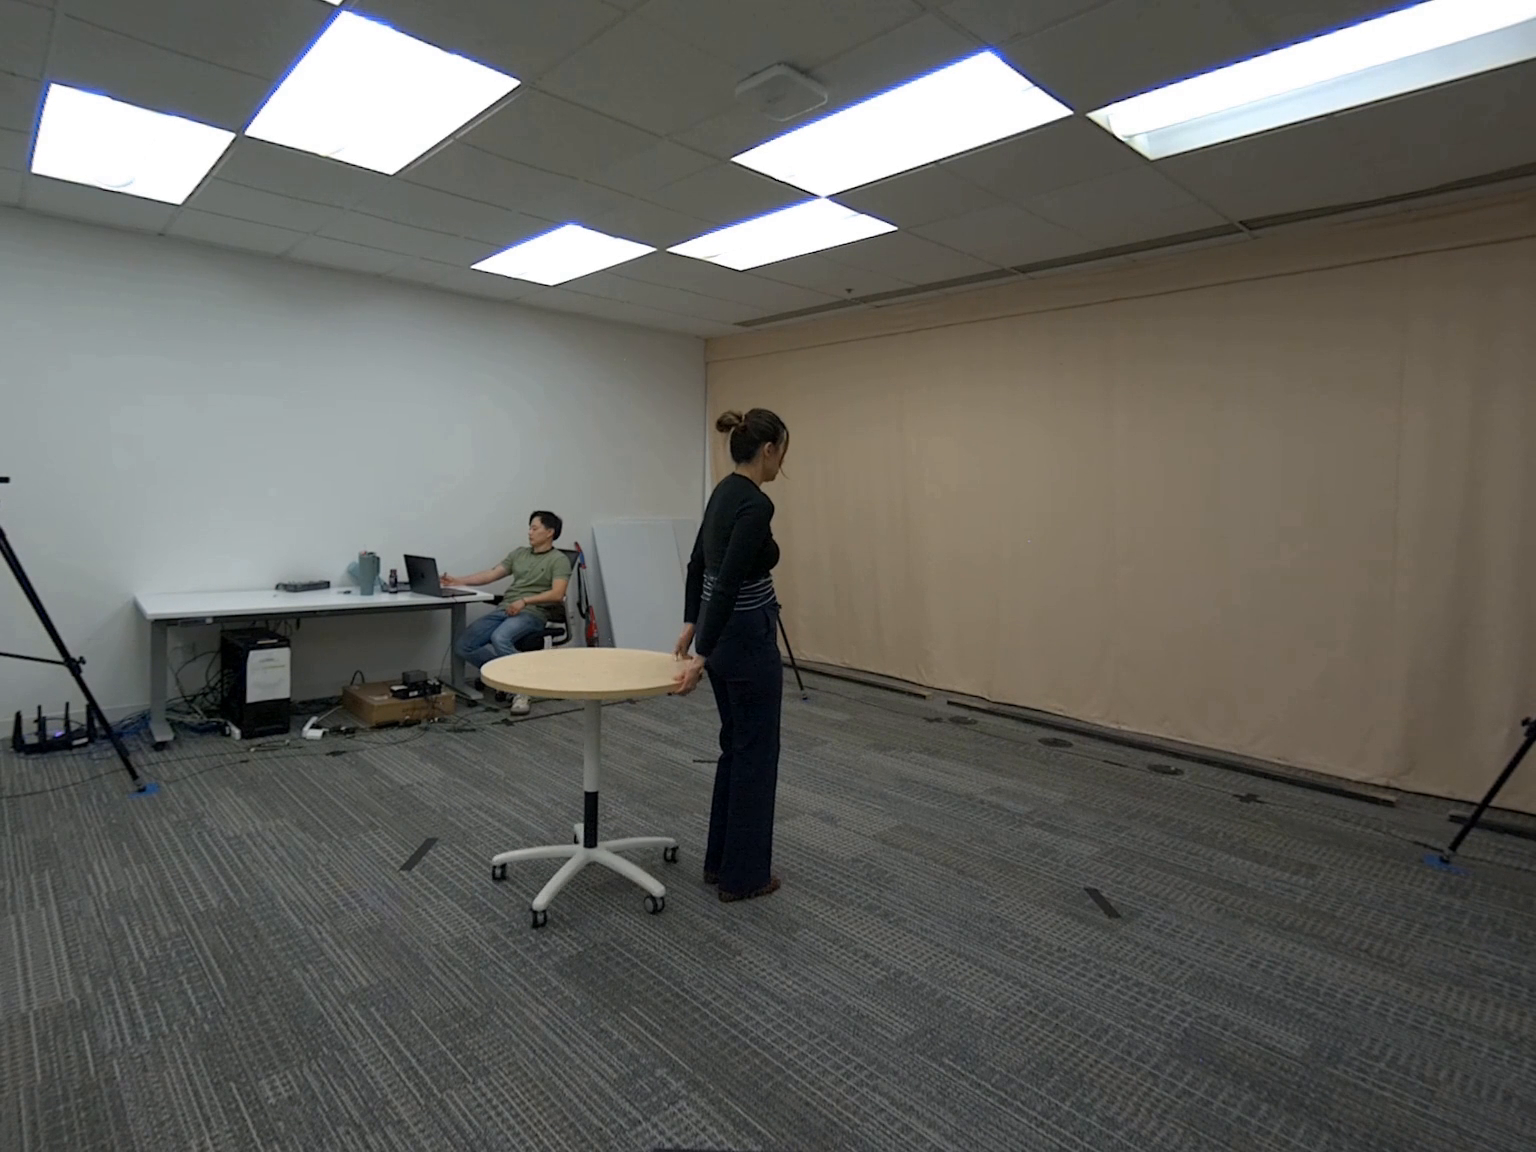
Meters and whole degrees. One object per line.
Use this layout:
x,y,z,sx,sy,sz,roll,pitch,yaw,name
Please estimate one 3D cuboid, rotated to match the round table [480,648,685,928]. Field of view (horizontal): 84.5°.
-0.632,0.711,2.981,0.763,0.792,0.766,1,4,-1,round table
